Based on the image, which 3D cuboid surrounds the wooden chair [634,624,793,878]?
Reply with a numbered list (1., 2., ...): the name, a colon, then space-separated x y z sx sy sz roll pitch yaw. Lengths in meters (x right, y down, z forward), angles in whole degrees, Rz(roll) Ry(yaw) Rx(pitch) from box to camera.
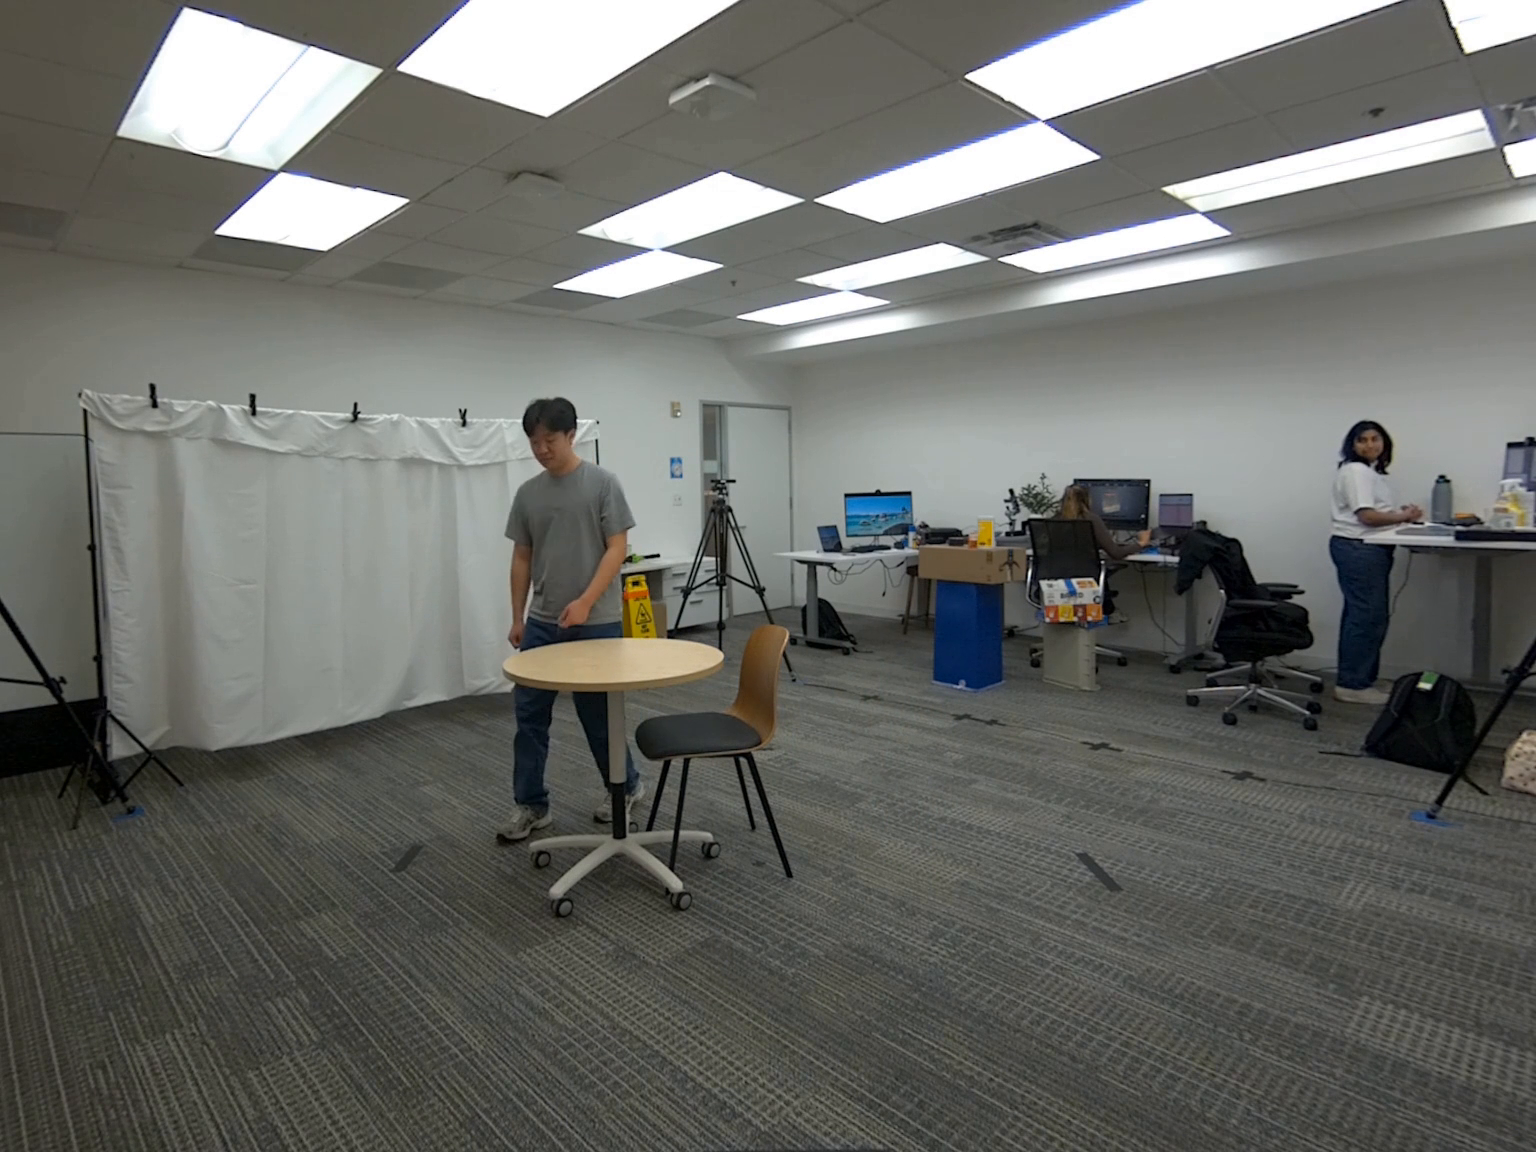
1. wooden chair: -0.207 0.619 3.110 0.515 0.875 0.487 2 3 -17
